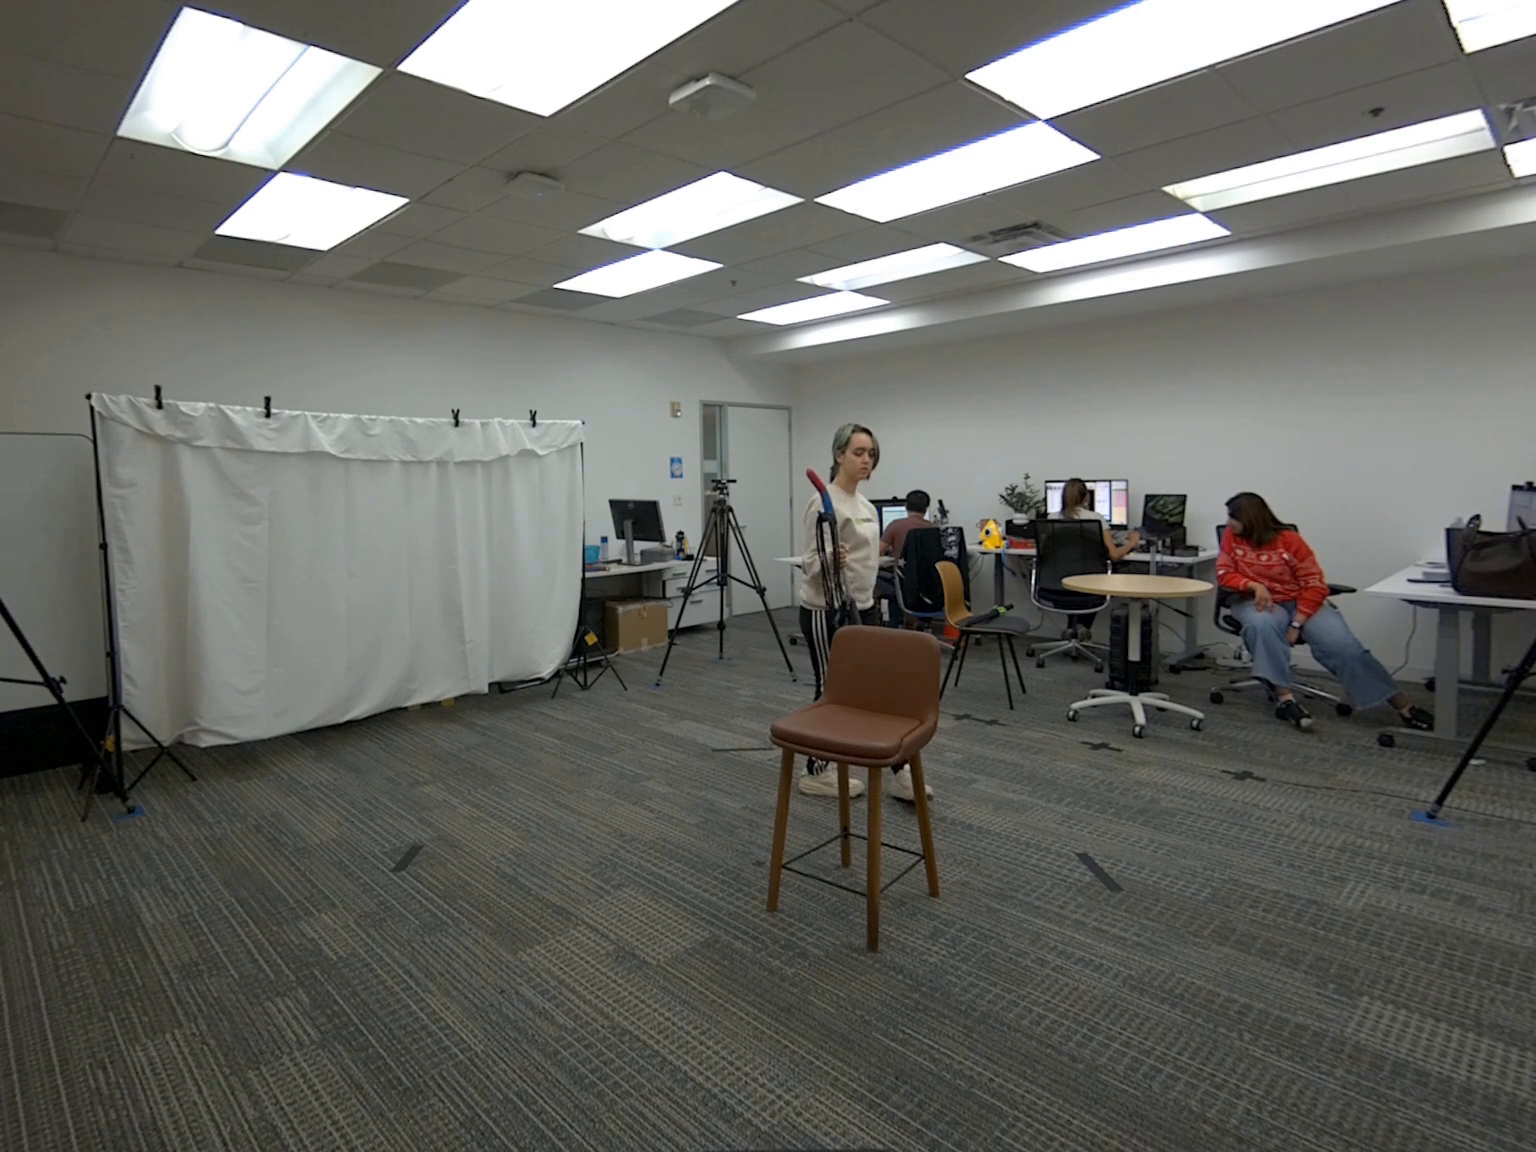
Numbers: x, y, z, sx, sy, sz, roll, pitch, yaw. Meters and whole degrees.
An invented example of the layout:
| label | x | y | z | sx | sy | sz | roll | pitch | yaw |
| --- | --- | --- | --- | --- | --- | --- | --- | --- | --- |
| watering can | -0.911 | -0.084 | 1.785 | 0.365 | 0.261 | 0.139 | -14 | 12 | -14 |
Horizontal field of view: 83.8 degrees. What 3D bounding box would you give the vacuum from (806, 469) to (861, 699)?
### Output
| label | x | y | z | sx | sy | sz | roll | pitch | yaw |
| --- | --- | --- | --- | --- | --- | --- | --- | --- | --- |
| vacuum | 0.285 | 0.099 | 3.340 | 0.259 | 1.039 | 0.142 | -6 | 11 | 36 |
